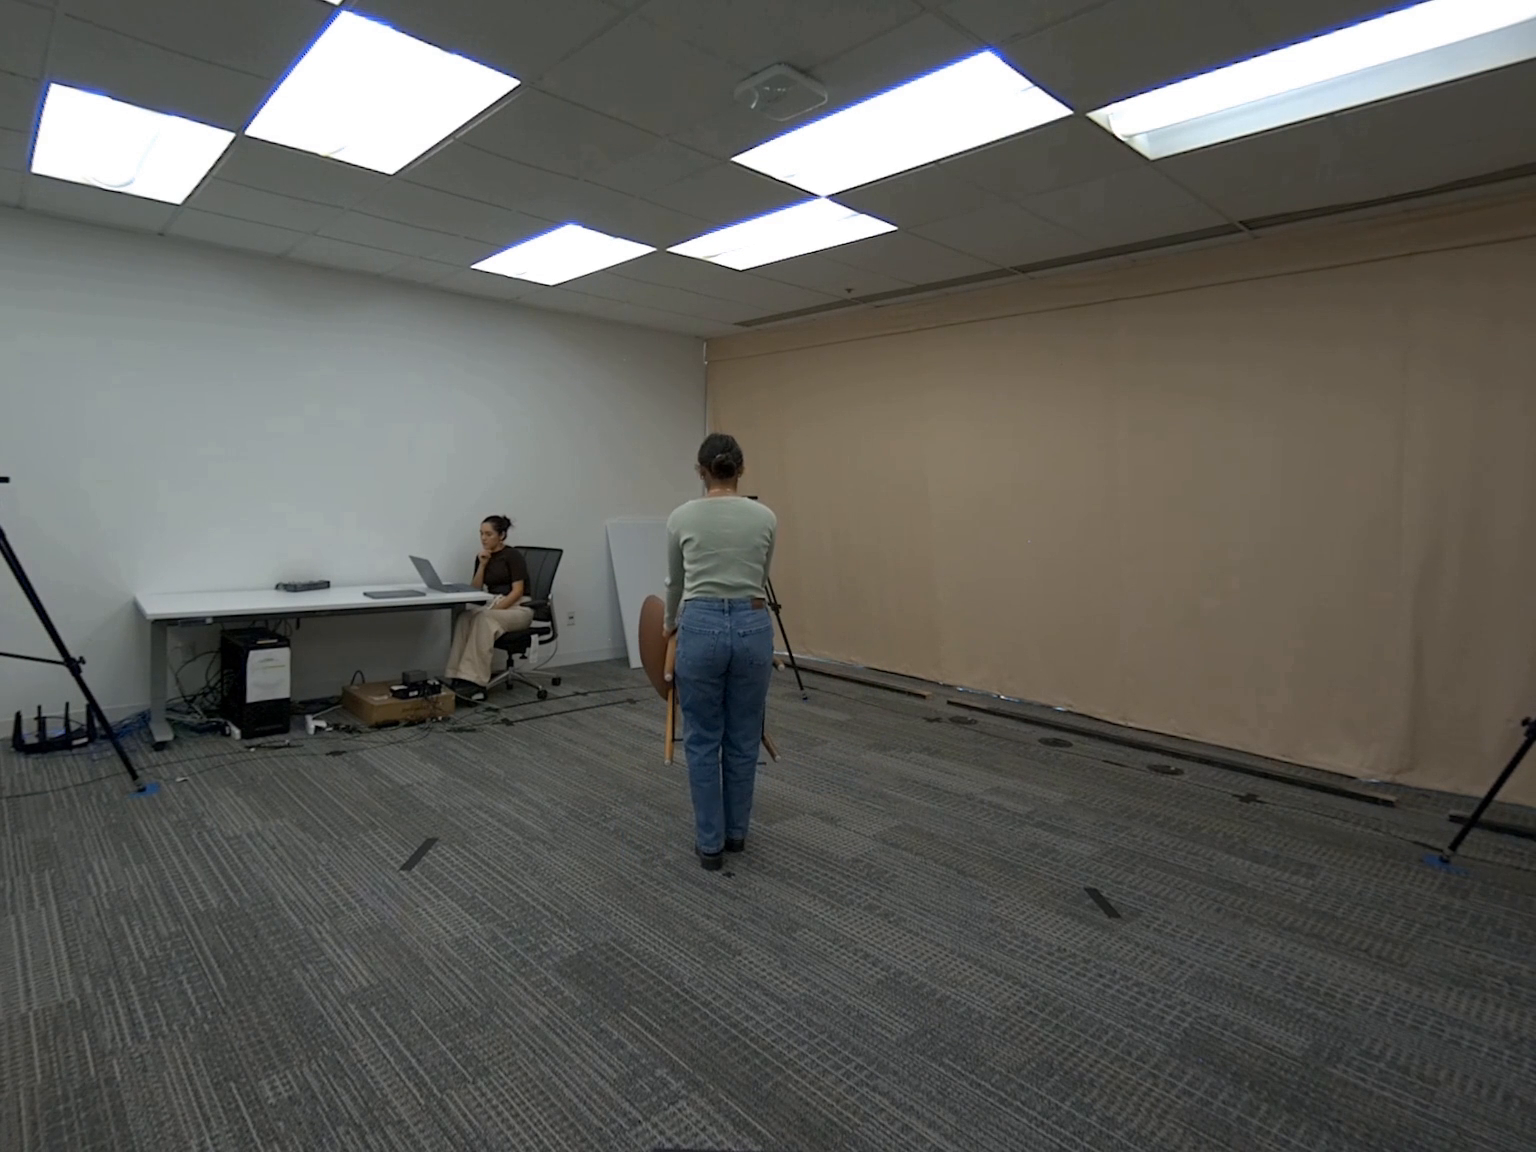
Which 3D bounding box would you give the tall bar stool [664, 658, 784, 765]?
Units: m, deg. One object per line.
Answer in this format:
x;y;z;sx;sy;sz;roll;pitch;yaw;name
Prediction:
-0.263;0.403;3.555;0.463;0.451;0.908;-2;17;-13;tall bar stool
